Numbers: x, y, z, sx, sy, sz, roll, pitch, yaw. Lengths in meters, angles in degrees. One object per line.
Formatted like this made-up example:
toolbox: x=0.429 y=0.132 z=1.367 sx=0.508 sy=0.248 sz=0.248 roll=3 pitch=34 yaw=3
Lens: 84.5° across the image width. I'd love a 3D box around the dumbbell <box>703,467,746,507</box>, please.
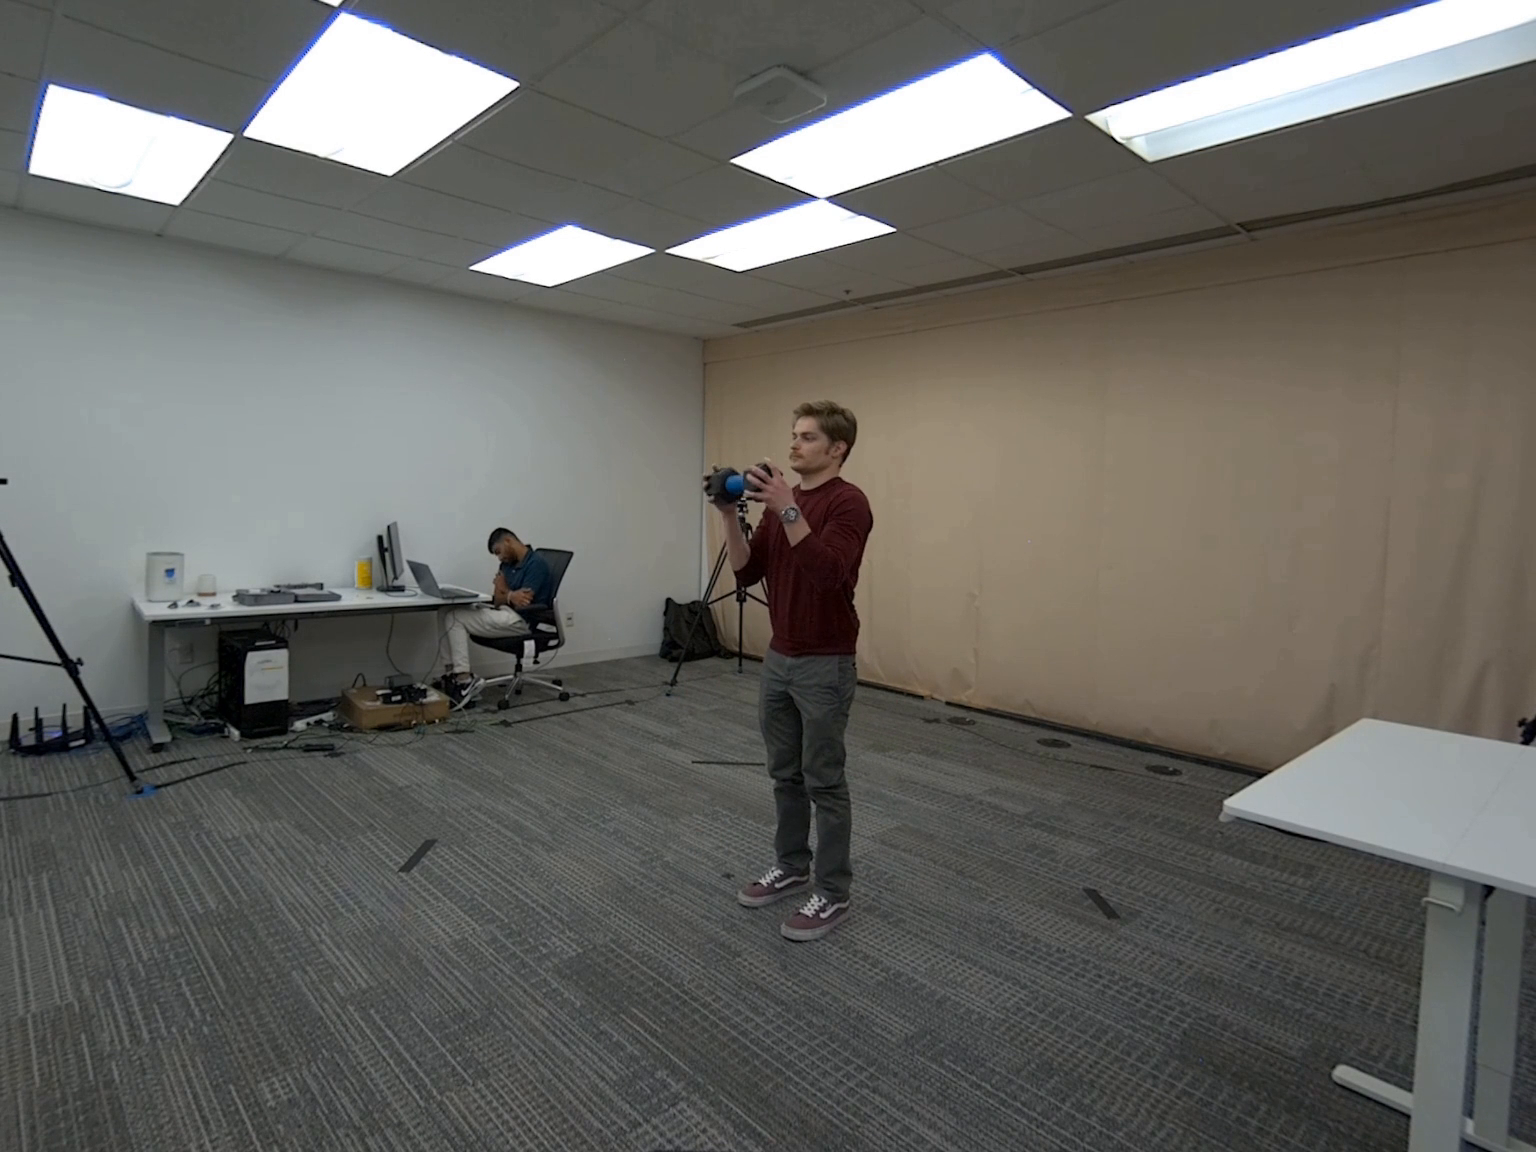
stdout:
dumbbell: x=-0.079 y=-0.273 z=2.650 sx=0.119 sy=0.109 sz=0.300 roll=35 pitch=-18 yaw=-33
